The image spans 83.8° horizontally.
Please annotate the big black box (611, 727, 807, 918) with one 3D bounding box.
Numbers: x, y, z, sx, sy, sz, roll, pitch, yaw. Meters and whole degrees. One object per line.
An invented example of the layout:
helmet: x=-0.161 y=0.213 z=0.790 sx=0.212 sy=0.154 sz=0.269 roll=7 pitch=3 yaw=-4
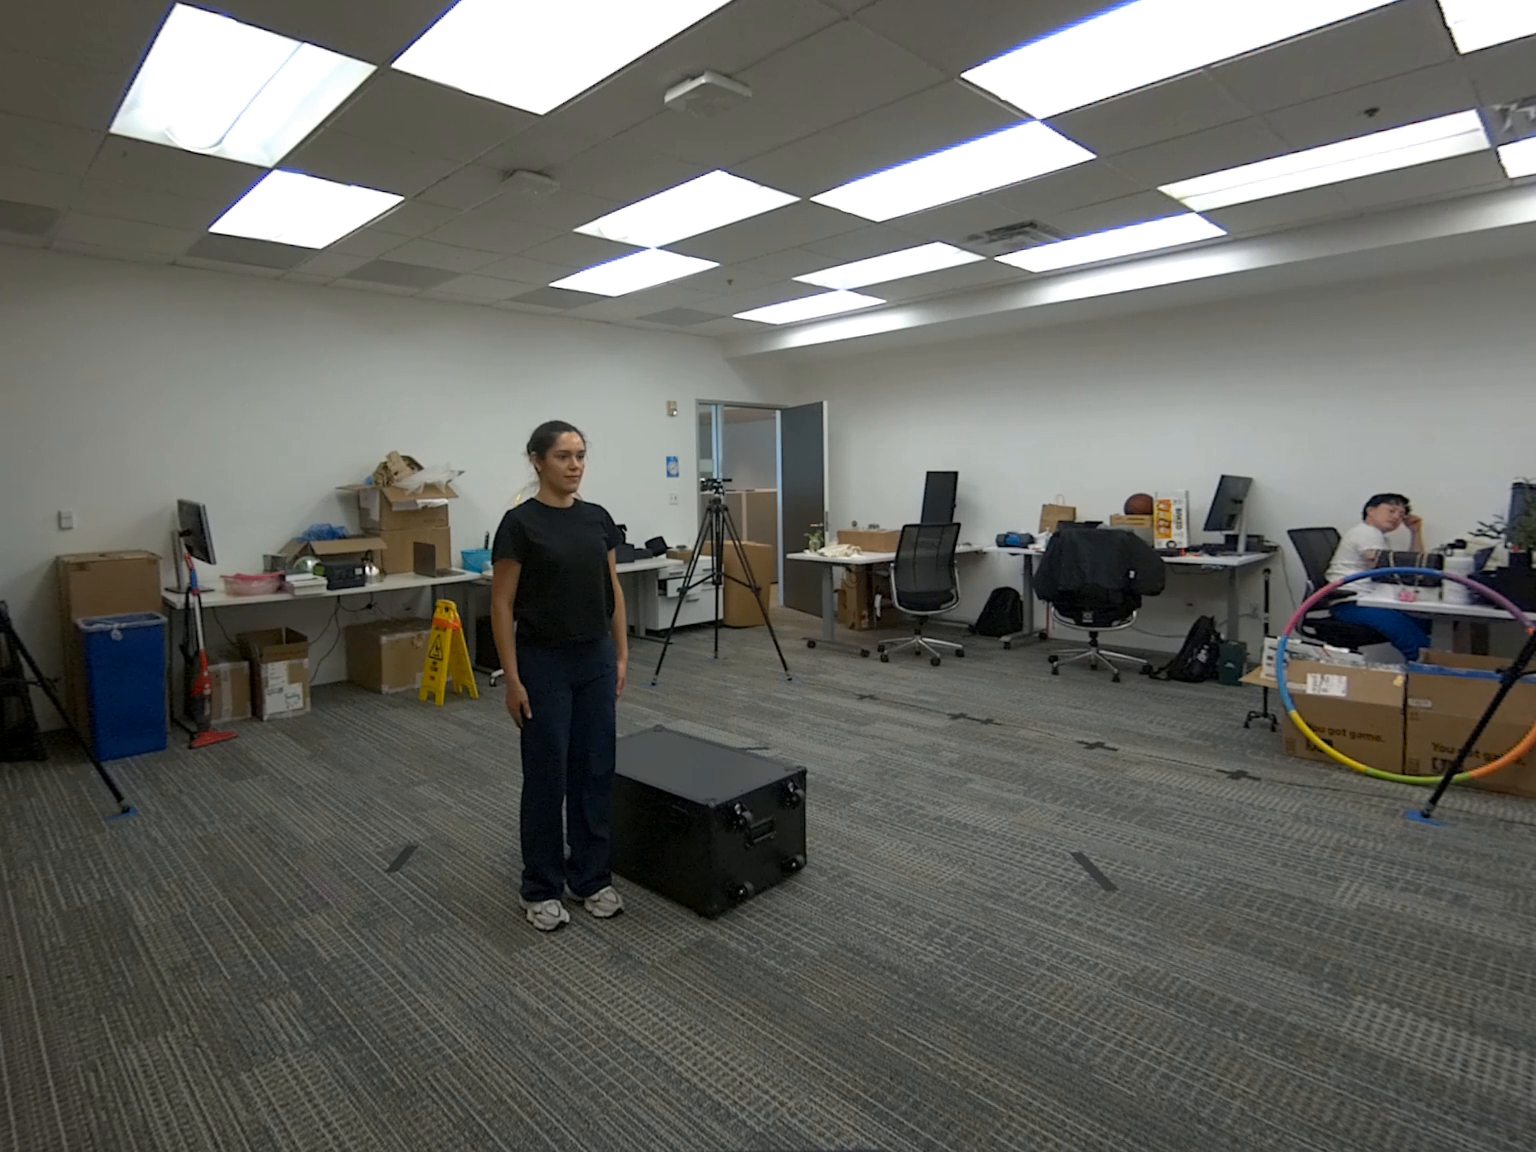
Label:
big black box: x=-0.291 y=0.859 z=3.112 sx=0.888 sy=0.394 sz=0.508 roll=4 pitch=8 yaw=42
